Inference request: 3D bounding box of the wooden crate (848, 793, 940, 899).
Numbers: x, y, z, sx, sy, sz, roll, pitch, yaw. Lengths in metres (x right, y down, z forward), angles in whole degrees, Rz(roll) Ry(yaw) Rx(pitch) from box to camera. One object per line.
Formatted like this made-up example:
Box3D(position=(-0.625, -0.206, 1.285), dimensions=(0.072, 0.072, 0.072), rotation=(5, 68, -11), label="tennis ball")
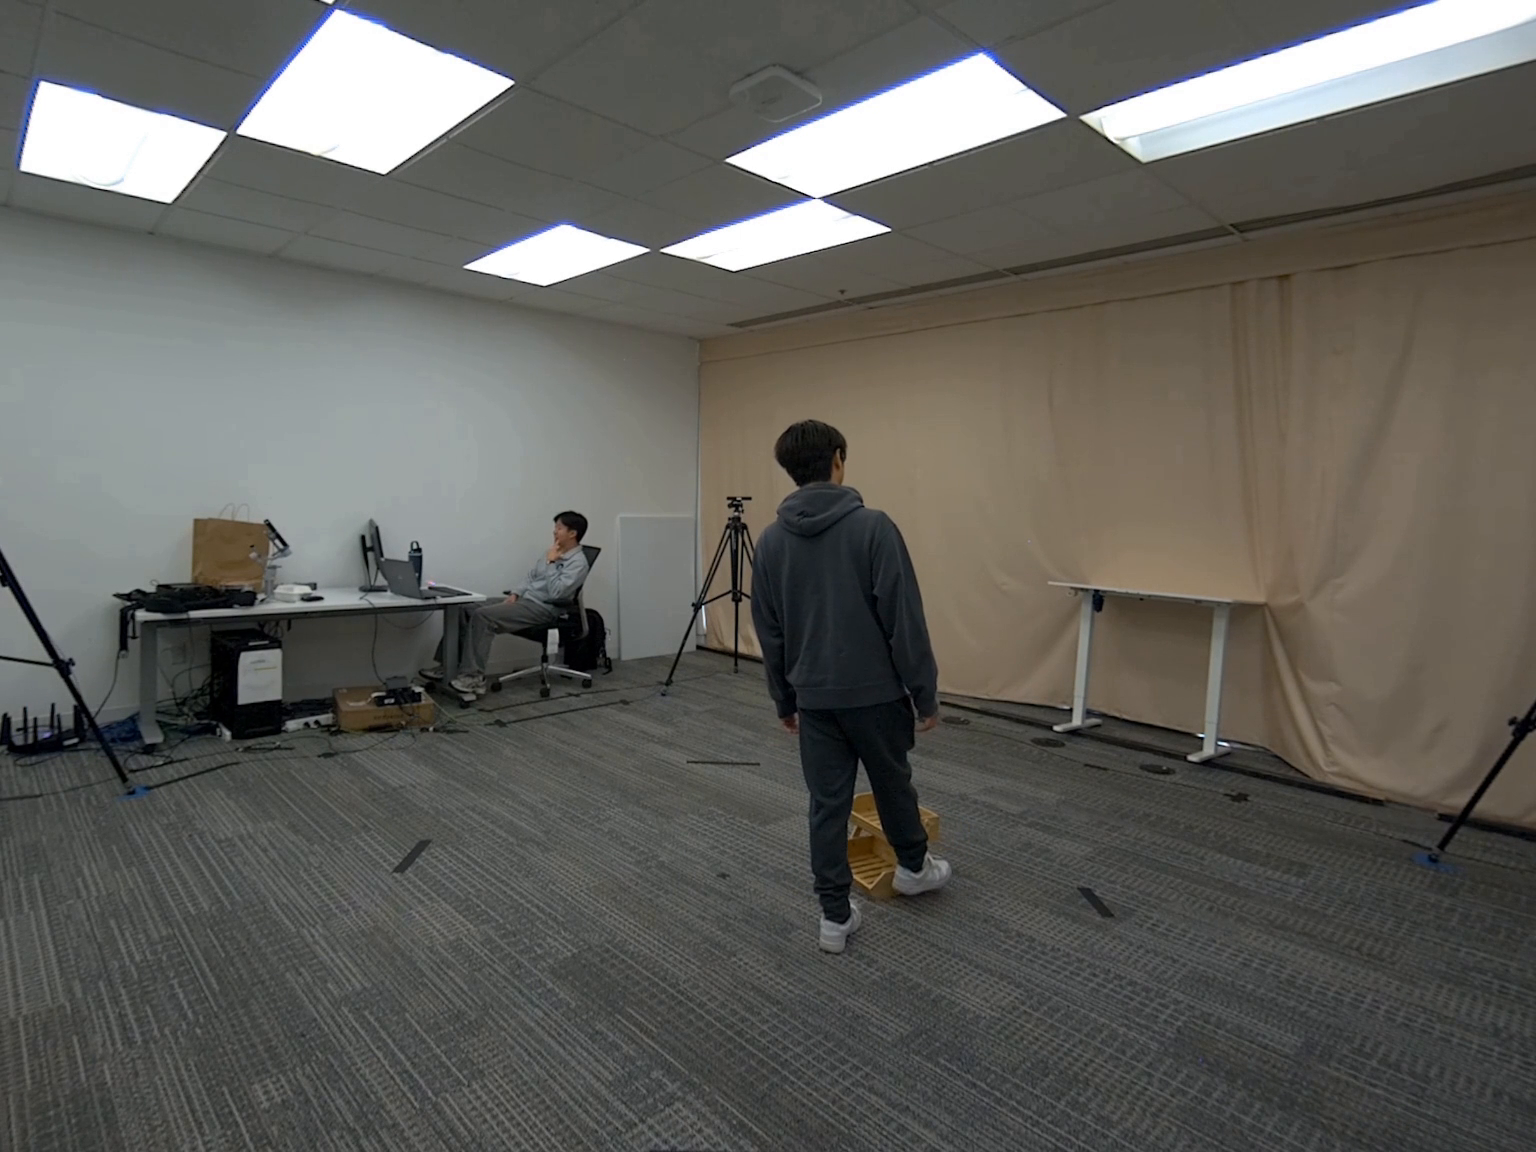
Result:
Box3D(position=(0.408, 0.983, 3.120), dimensions=(0.296, 0.273, 0.332), rotation=(1, 4, -30), label="wooden crate")
